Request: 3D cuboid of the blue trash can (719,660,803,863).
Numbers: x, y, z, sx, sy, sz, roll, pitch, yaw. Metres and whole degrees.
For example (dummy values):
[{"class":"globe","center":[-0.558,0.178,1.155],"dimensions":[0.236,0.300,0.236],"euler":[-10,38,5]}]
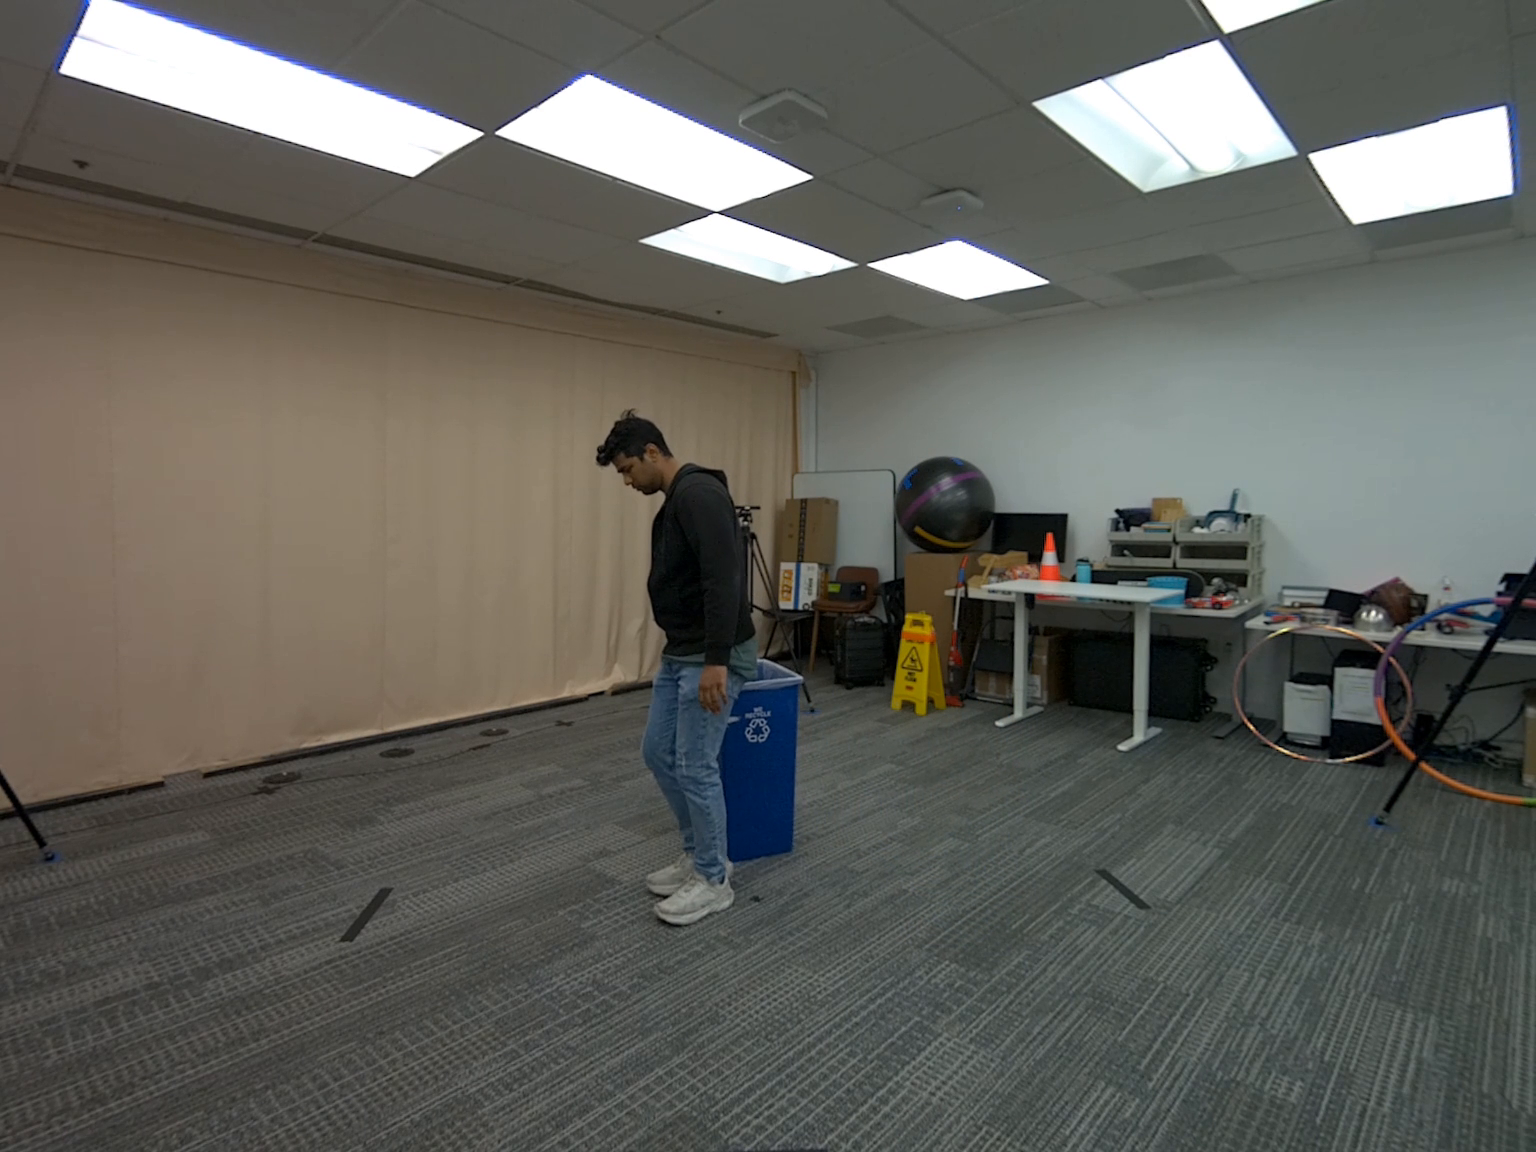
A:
[{"class":"blue trash can","center":[-0.094,0.745,3.428],"dimensions":[0.369,0.711,0.384],"euler":[-3,5,-26]}]
